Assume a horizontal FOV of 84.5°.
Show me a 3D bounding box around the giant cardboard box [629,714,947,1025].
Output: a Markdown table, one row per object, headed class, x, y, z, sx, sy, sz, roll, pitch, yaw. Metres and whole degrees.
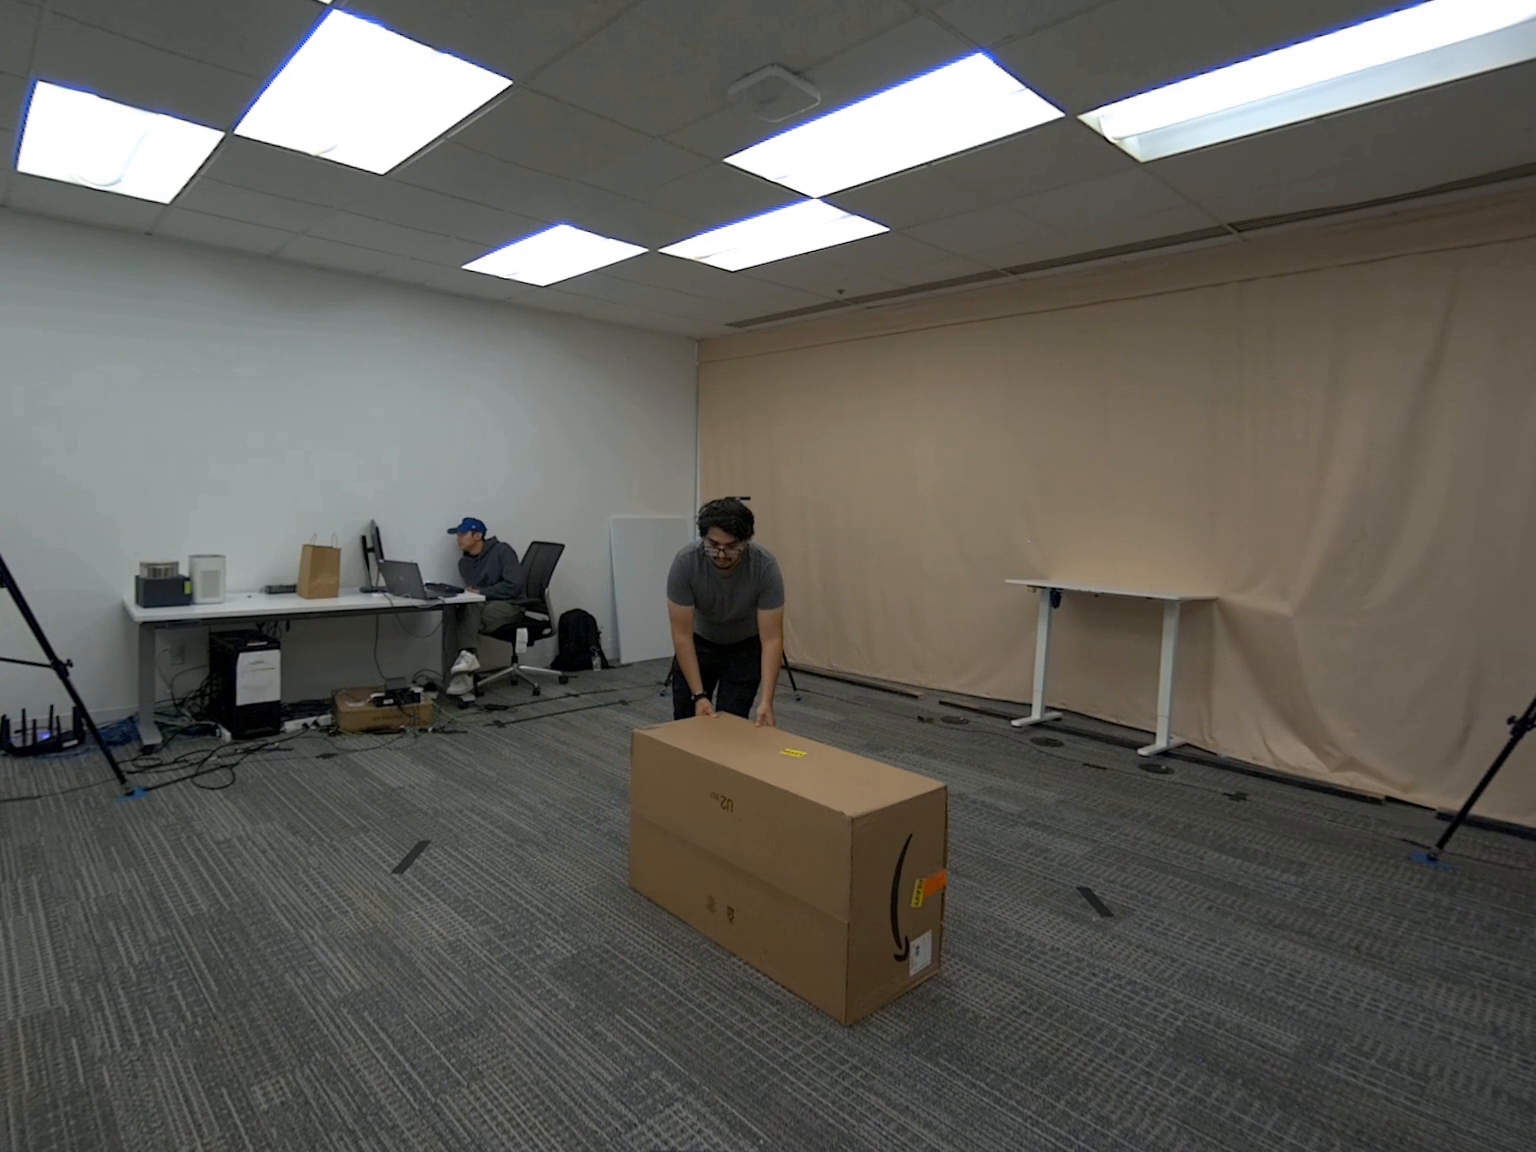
| class | x | y | z | sx | sy | sz | roll | pitch | yaw |
| --- | --- | --- | --- | --- | --- | --- | --- | --- | --- |
| giant cardboard box | 0.018 | 0.863 | 2.722 | 0.416 | 0.576 | 1.052 | -2 | 6 | -42 |
